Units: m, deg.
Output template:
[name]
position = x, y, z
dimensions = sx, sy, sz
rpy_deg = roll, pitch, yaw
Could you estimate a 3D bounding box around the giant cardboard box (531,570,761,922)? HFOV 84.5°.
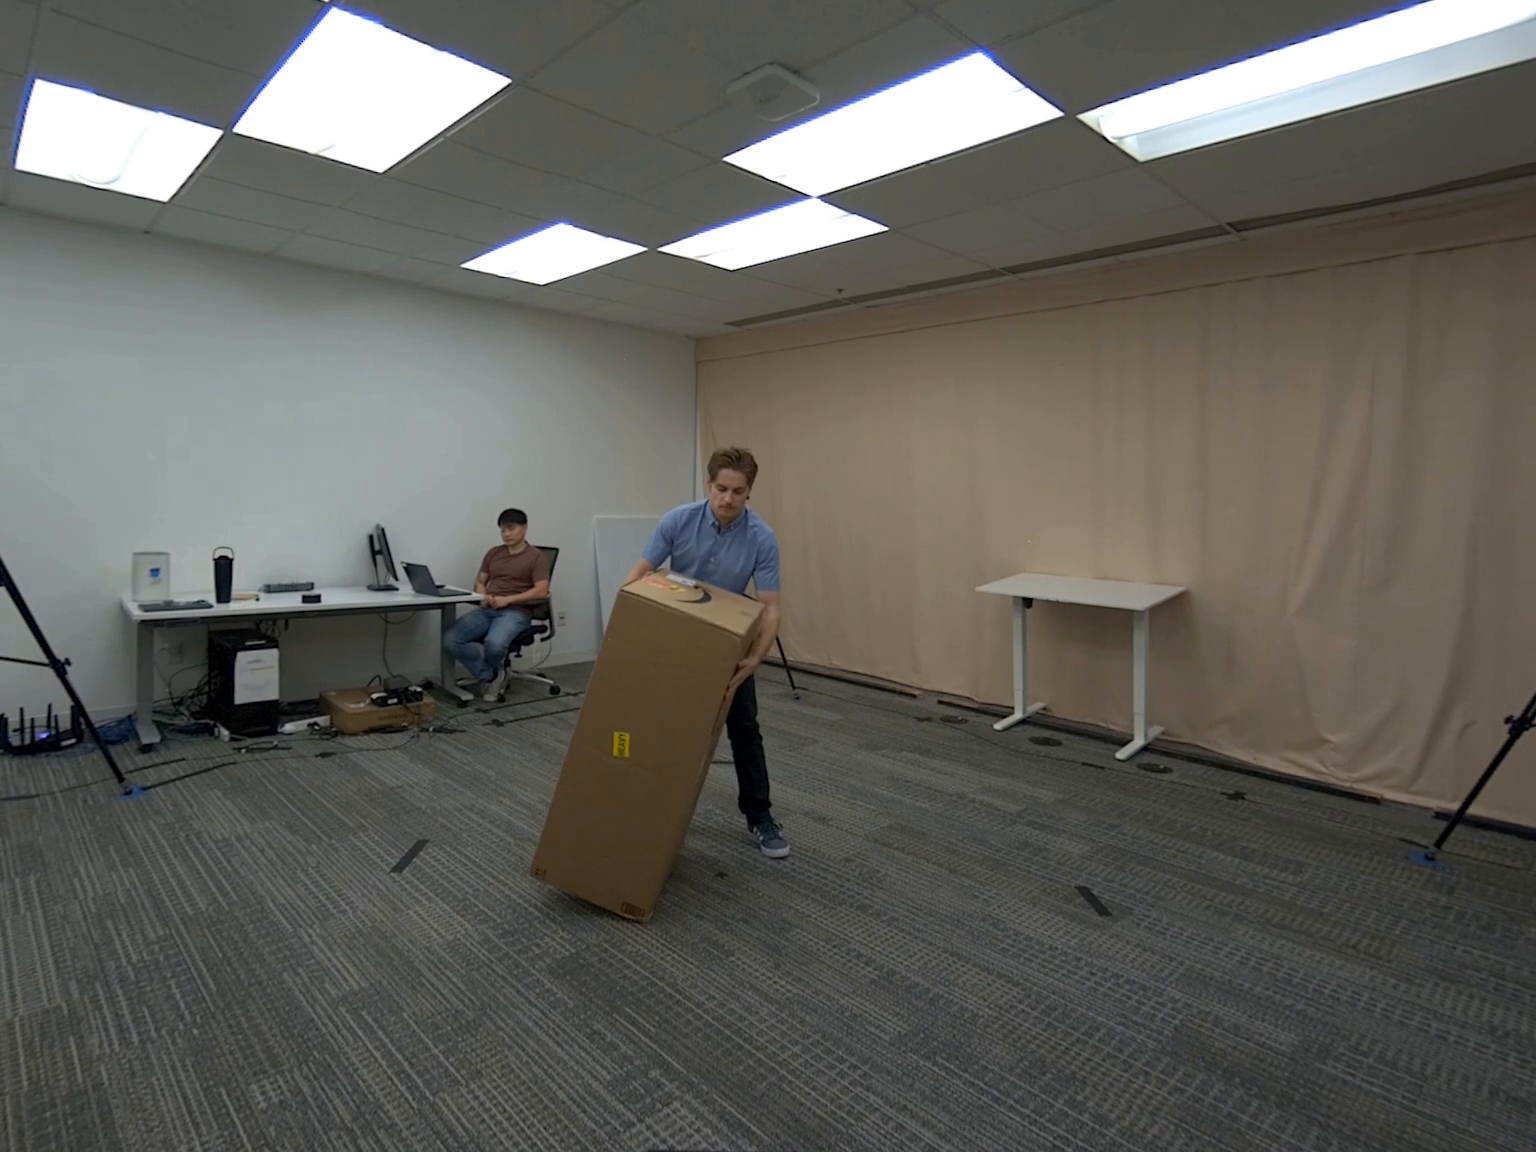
[giant cardboard box]
position = -0.408, 0.554, 2.954
dimensions = 0.450, 1.023, 0.582
rpy_deg = 19, 9, 6
